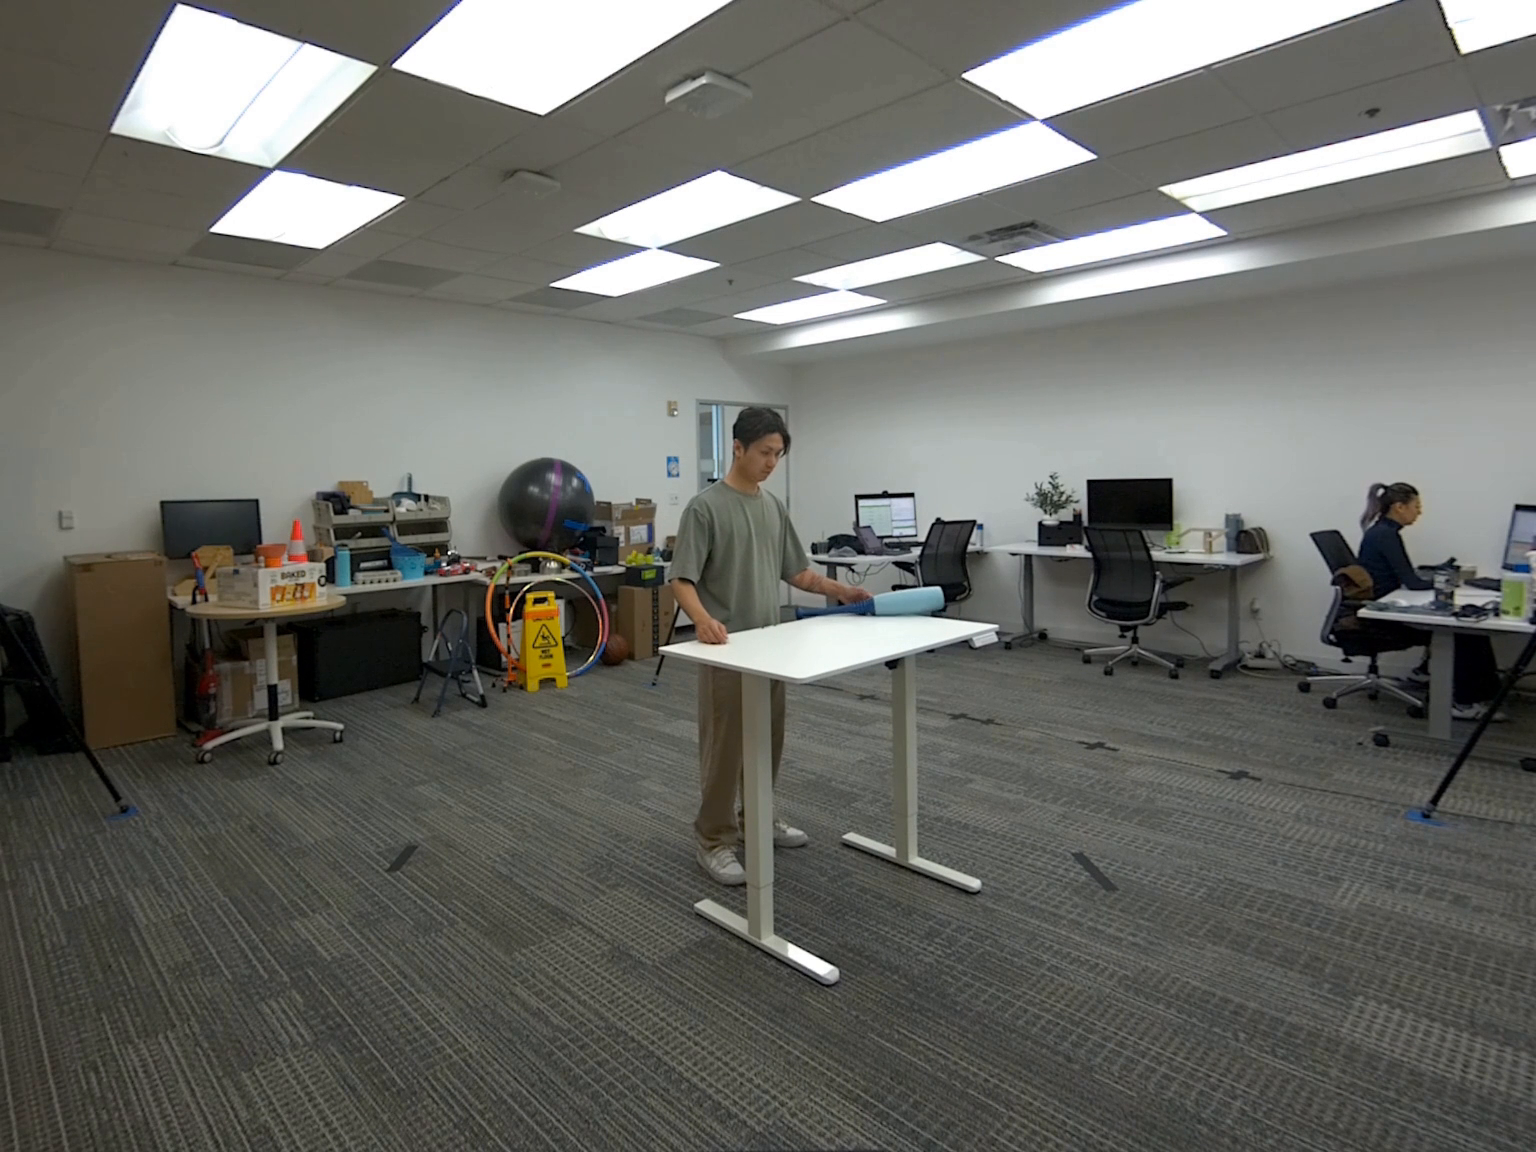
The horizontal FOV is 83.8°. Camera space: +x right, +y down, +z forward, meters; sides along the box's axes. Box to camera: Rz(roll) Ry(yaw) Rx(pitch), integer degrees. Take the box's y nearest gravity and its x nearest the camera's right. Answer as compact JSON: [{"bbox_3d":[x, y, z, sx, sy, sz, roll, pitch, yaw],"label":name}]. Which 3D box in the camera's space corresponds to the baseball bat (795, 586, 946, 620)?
[{"bbox_3d":[0.369,0.113,3.157,0.547,0.089,0.089,-7,4,8],"label":"baseball bat"}]
